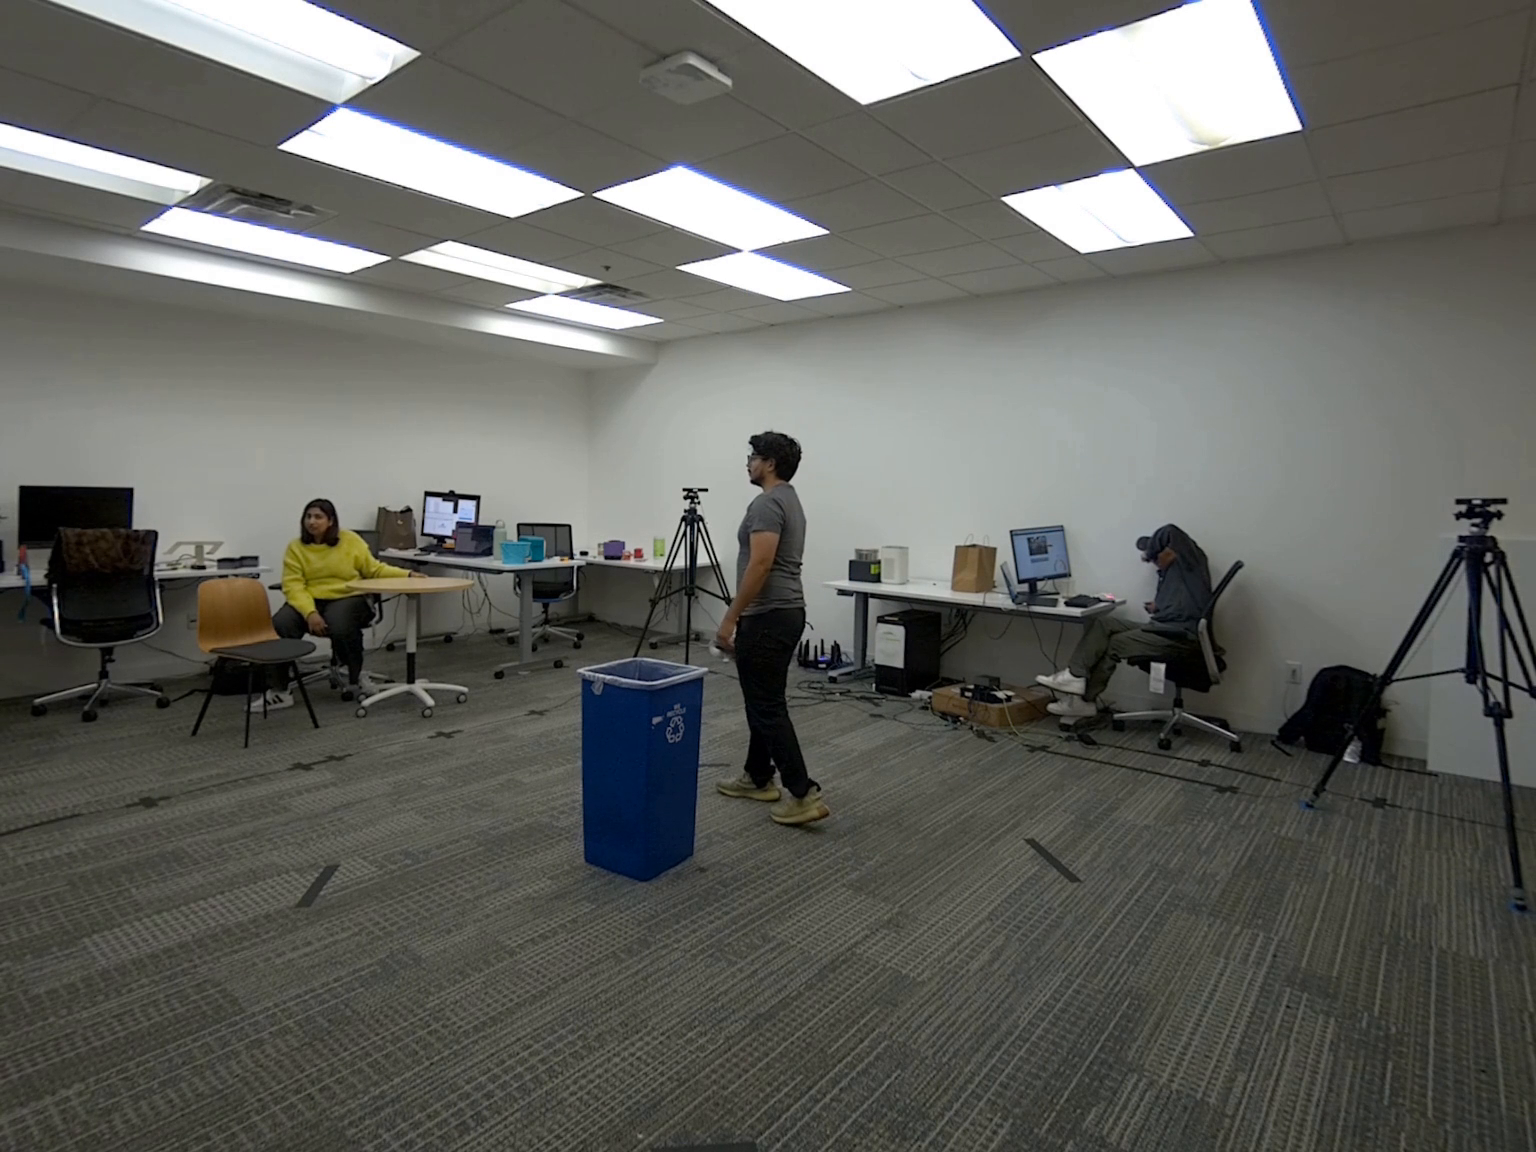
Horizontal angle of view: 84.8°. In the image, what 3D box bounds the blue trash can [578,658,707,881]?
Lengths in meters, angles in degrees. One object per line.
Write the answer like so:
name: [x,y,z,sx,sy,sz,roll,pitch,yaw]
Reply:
blue trash can: [-0.483,0.700,3.189,0.390,0.712,0.364,3,4,33]
